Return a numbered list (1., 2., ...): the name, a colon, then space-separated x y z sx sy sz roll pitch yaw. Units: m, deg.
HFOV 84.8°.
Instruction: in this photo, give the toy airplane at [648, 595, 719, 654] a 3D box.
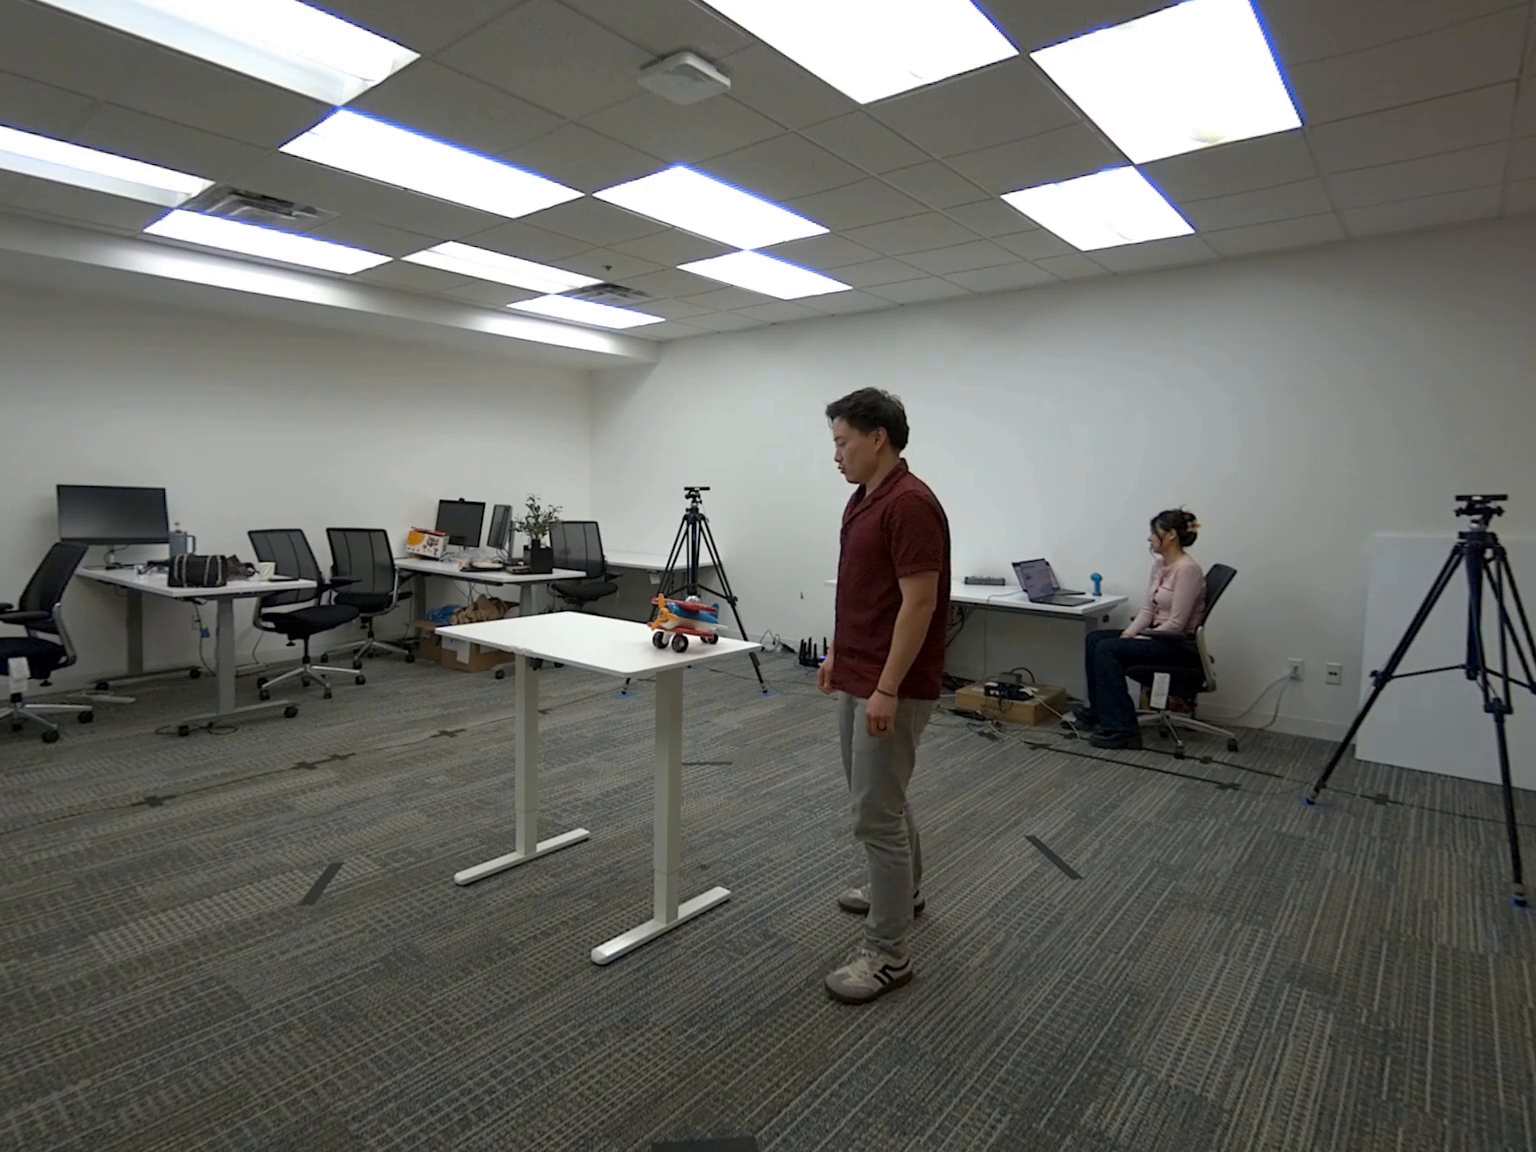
1. toy airplane: -0.278 0.142 2.730 0.255 0.155 0.257 3 8 13
